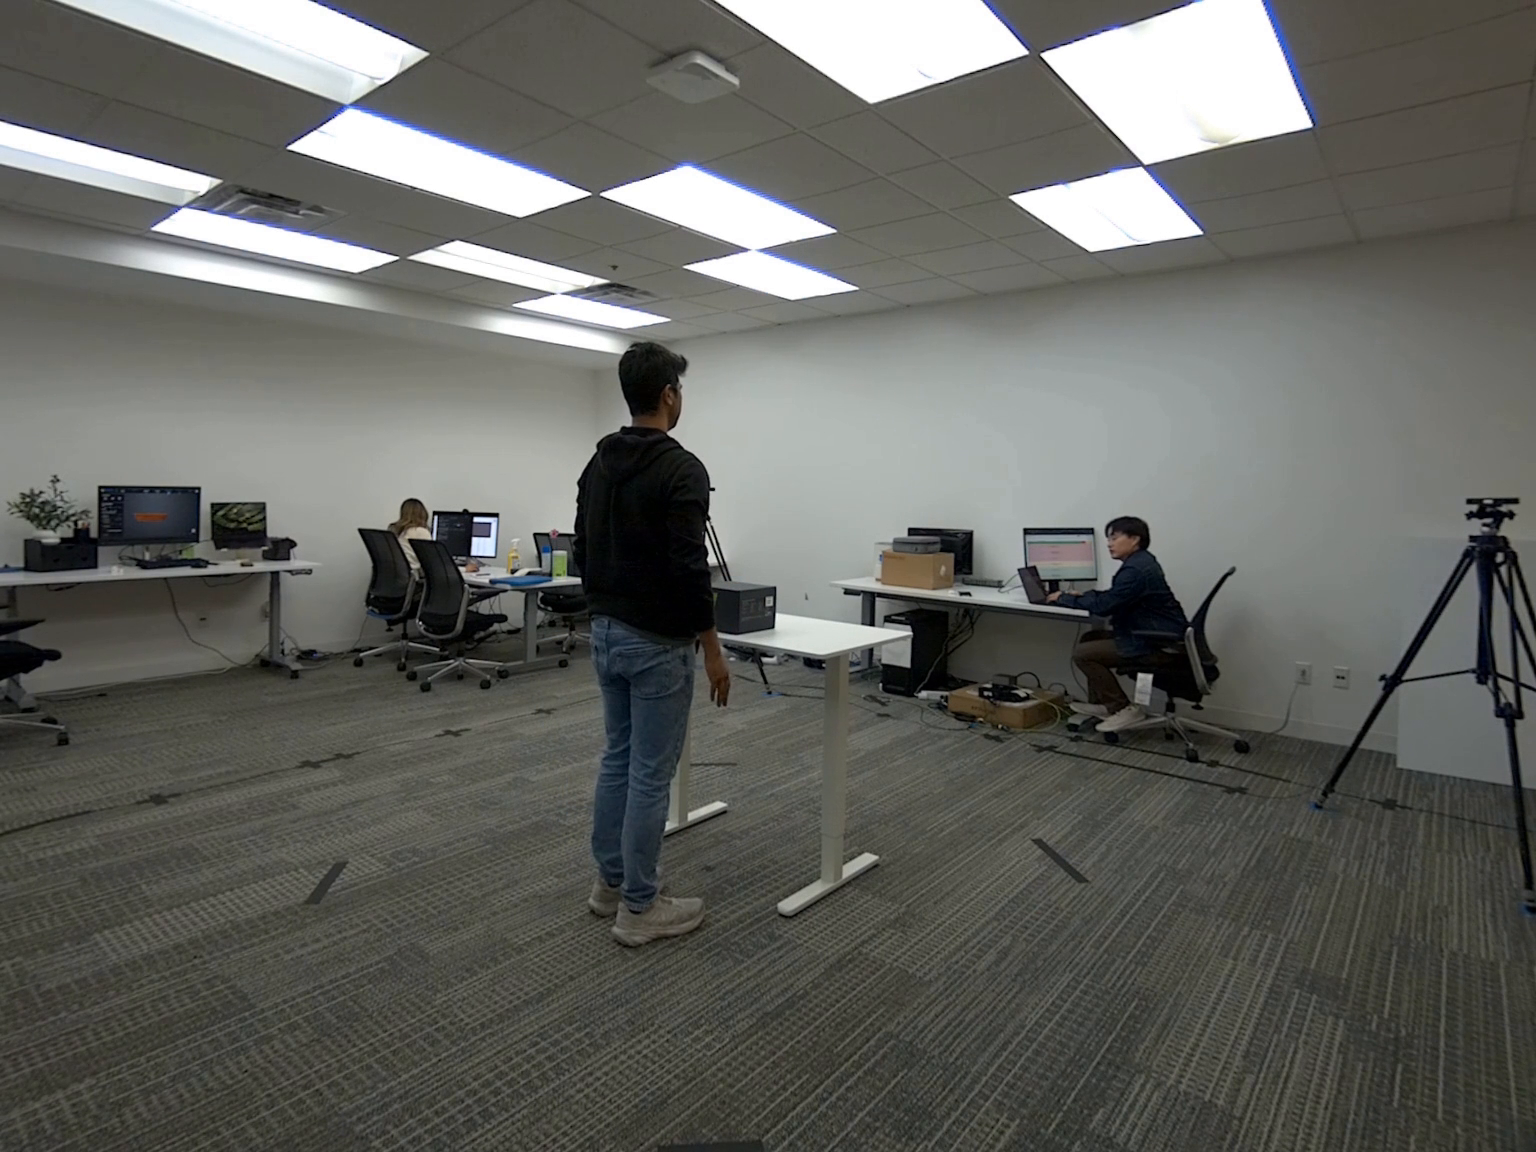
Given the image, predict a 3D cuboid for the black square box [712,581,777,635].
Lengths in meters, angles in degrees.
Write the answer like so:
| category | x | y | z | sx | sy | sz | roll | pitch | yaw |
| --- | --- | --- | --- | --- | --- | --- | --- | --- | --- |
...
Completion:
| category | x | y | z | sx | sy | sz | roll | pitch | yaw |
| --- | --- | --- | --- | --- | --- | --- | --- | --- | --- |
| black square box | -0.132 | 0.107 | 3.094 | 0.236 | 0.155 | 0.210 | 6 | 7 | 40 |
